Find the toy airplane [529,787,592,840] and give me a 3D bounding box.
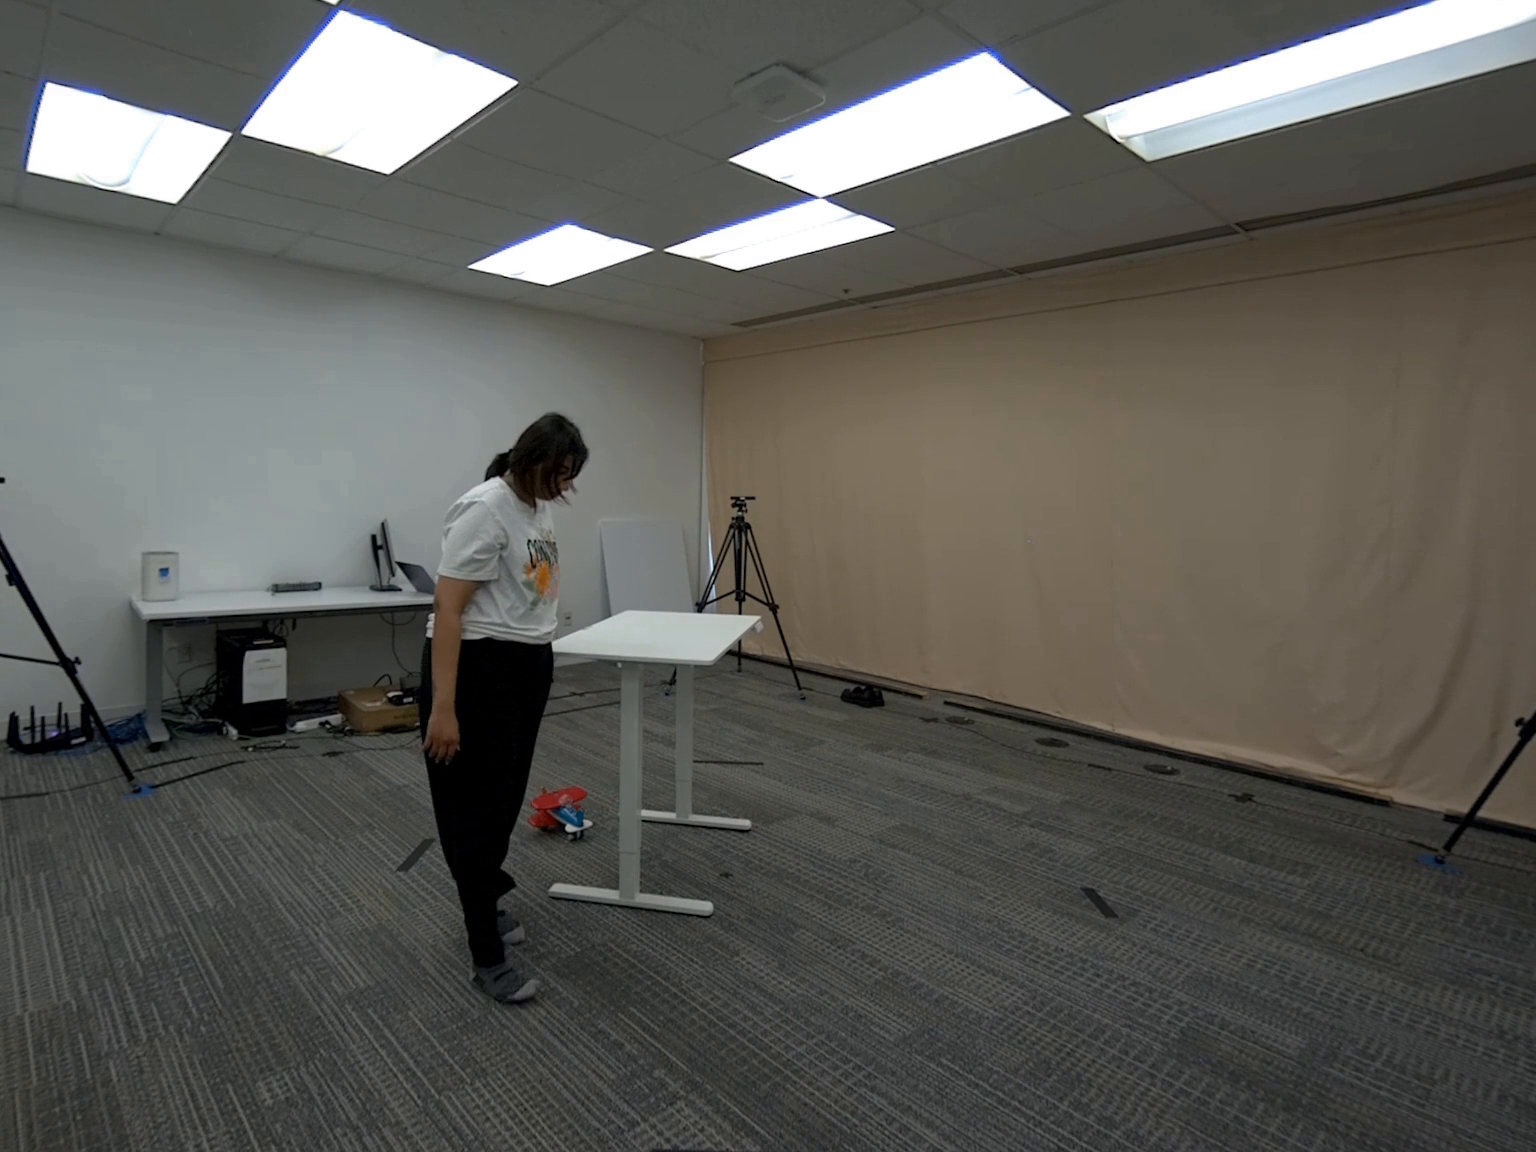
[{"bbox_3d":[-0.843,0.983,3.471,0.262,0.156,0.249,1,4,14],"label":"toy airplane"}]
